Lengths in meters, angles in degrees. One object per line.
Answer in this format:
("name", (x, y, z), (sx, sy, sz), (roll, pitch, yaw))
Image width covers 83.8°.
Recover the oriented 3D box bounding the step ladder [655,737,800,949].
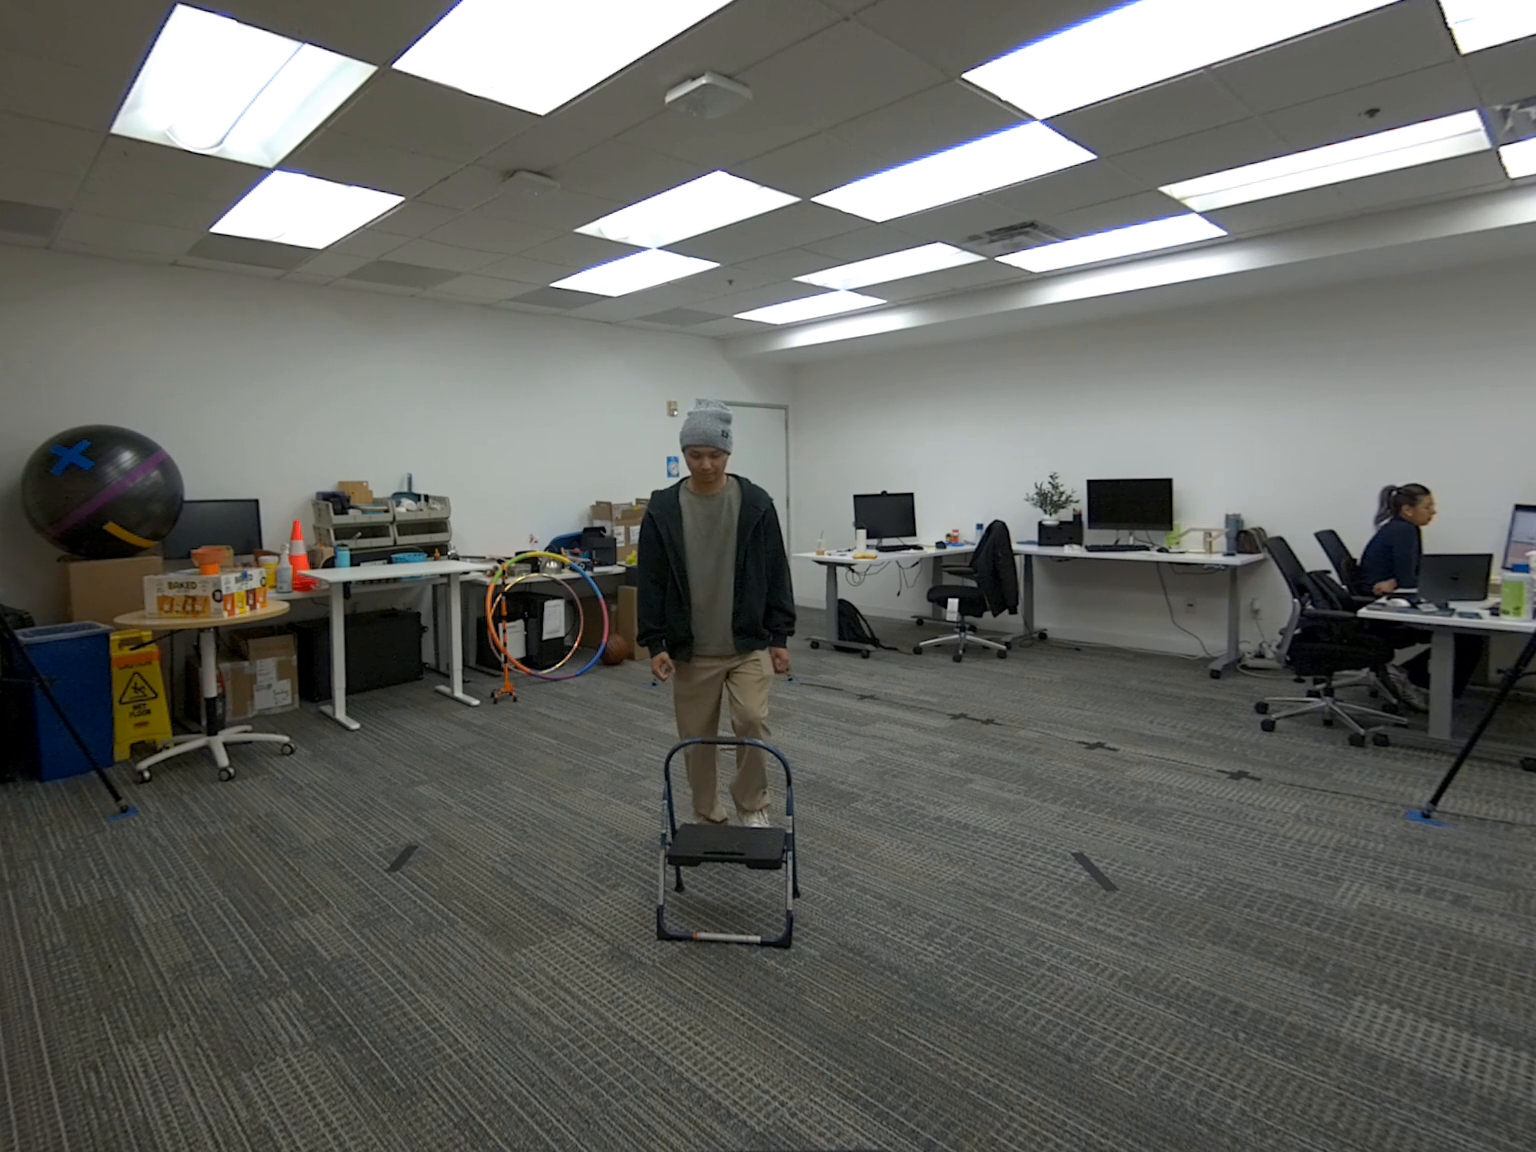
("step ladder", (-0.123, 0.792, 2.719), (0.433, 0.603, 0.348), (-1, 5, 6))
